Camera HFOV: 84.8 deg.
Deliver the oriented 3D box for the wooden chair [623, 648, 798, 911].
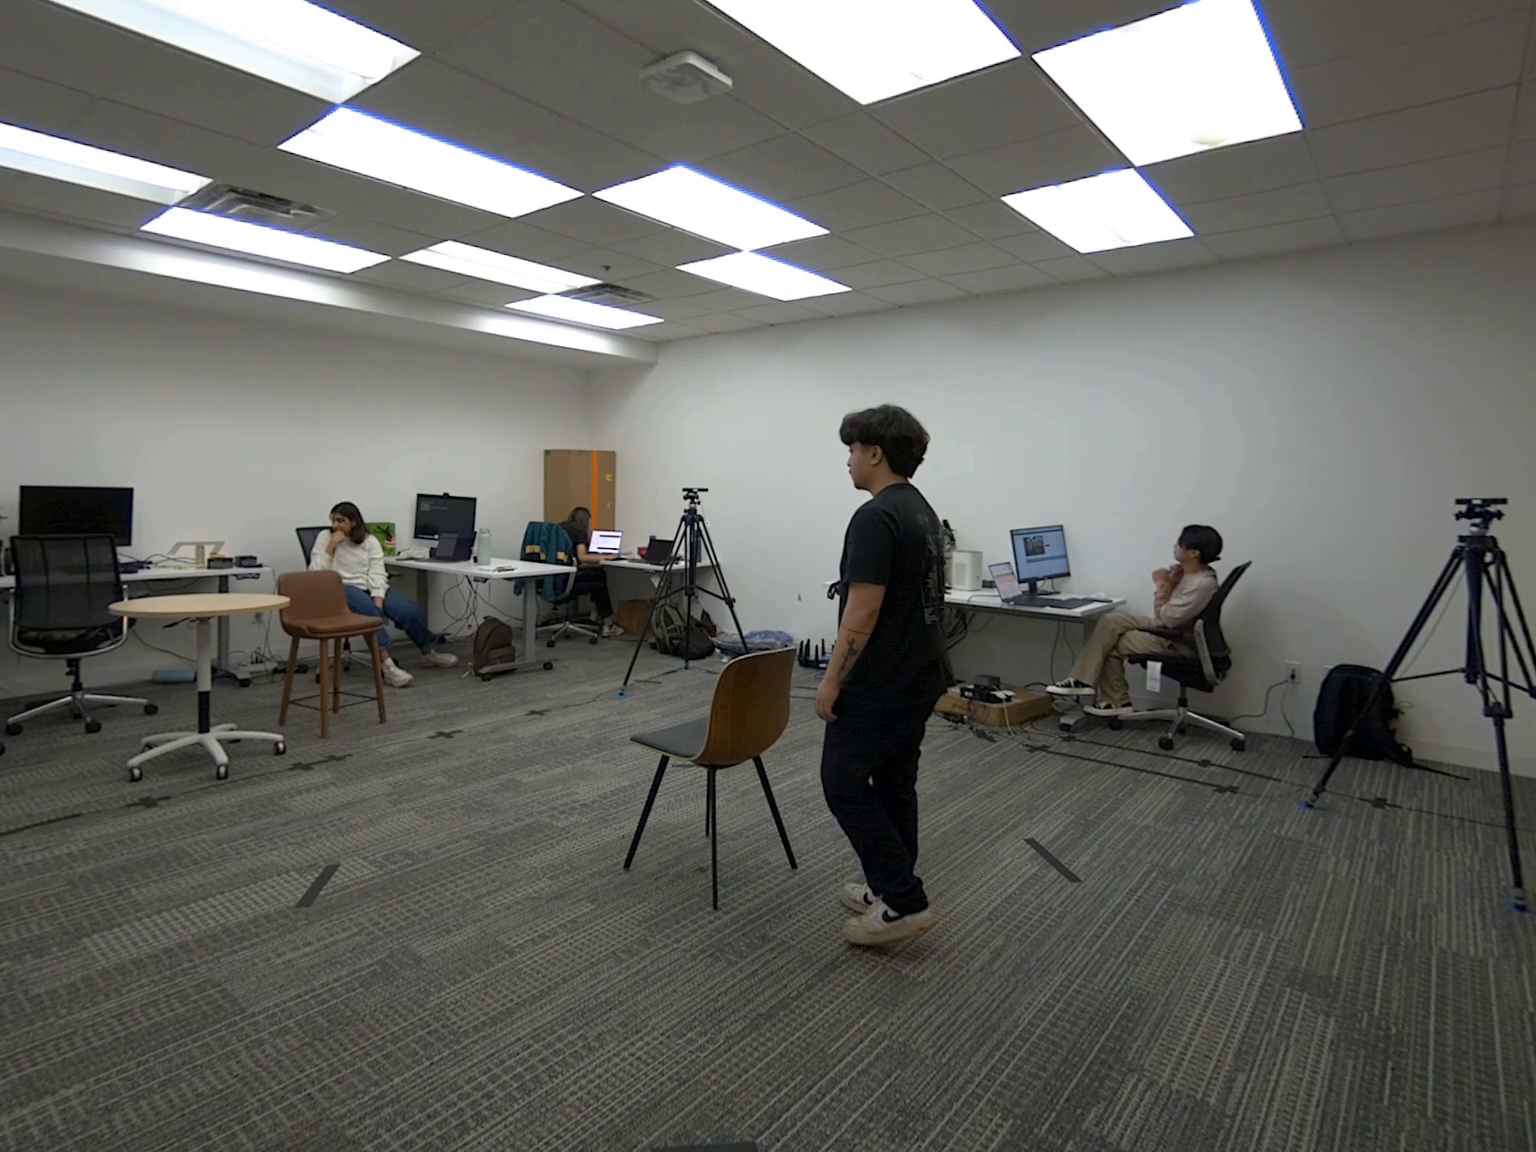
[{"bbox_3d":[-0.217,0.645,3.096,0.542,0.873,0.464,9,8,40],"label":"wooden chair"}]
